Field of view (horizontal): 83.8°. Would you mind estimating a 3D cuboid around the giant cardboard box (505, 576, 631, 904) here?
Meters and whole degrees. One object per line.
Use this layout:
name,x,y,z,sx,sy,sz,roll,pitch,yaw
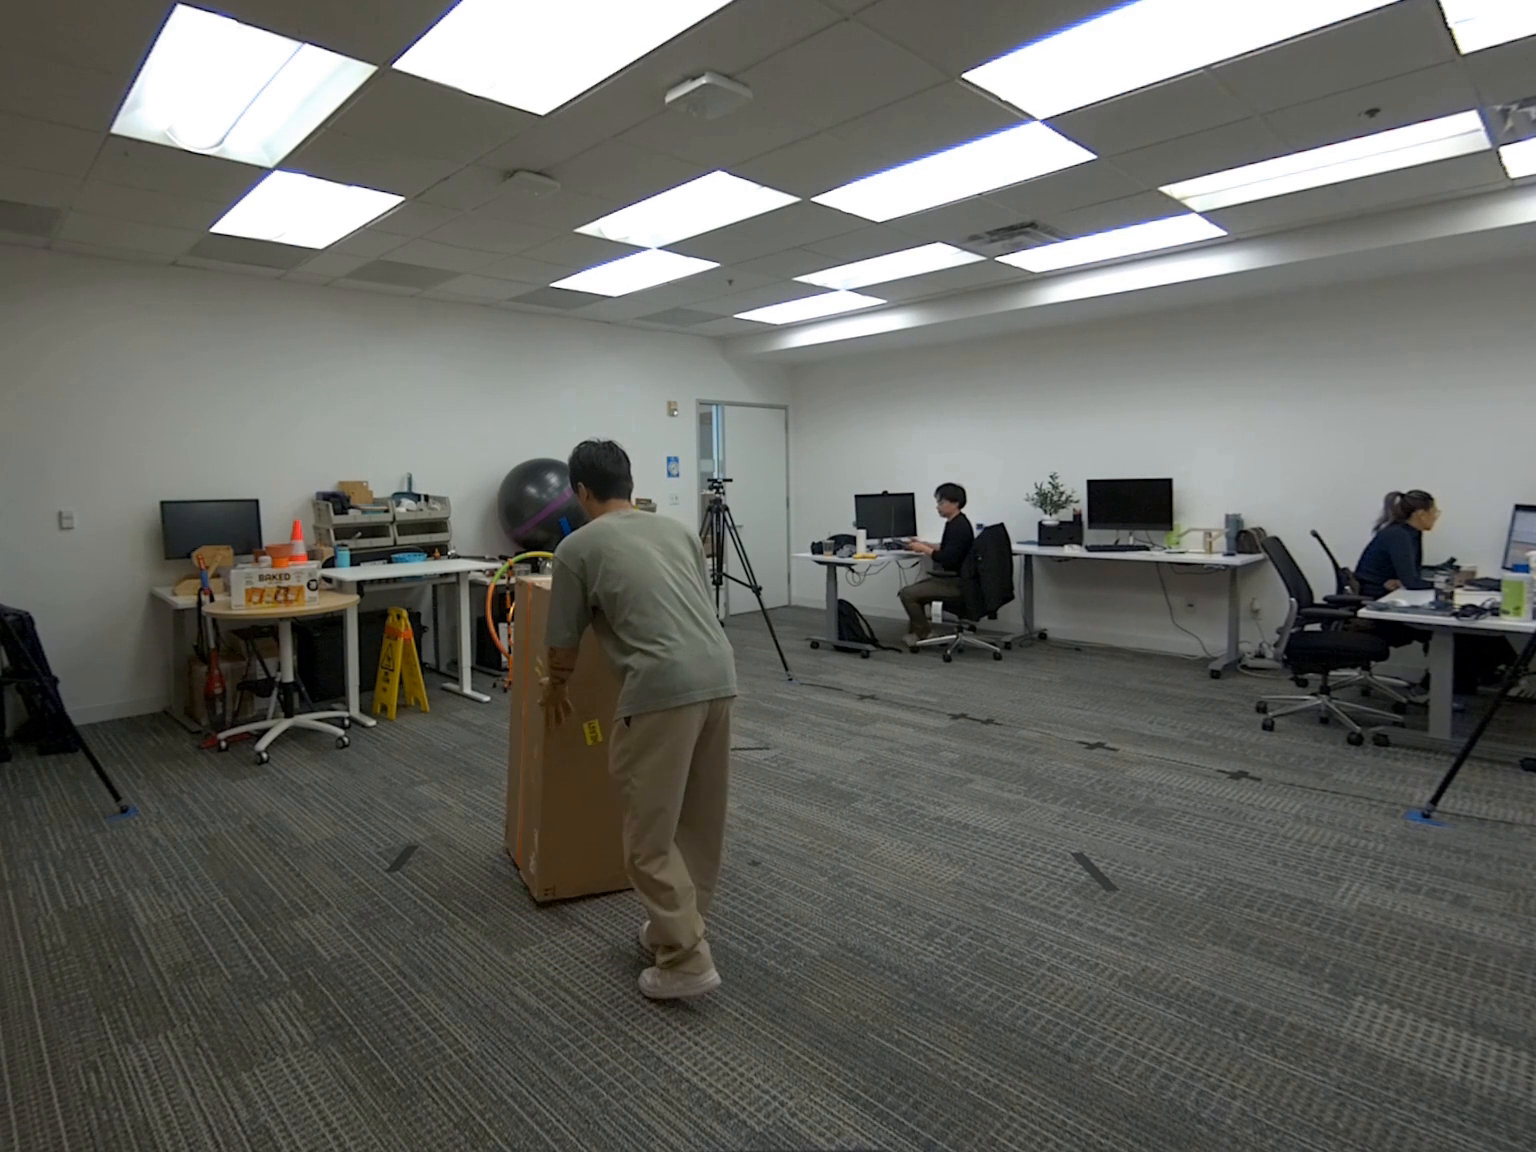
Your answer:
giant cardboard box,-0.679,0.538,3.112,0.416,1.025,0.592,2,2,-28
